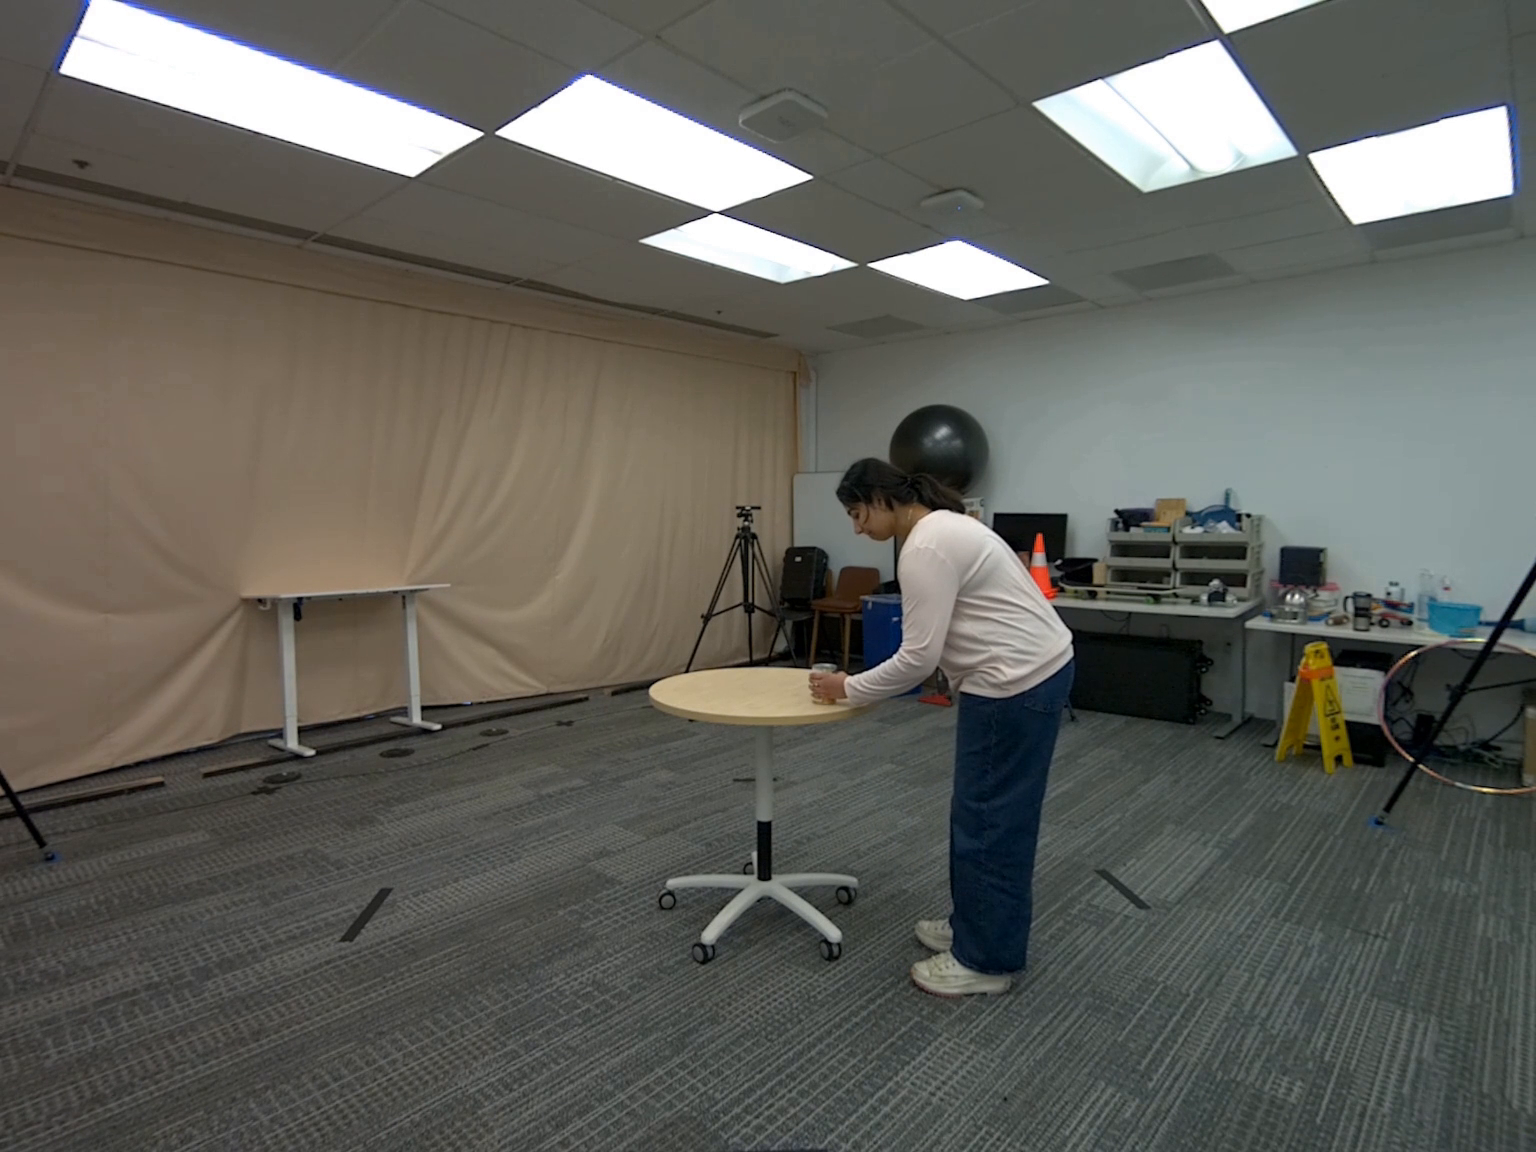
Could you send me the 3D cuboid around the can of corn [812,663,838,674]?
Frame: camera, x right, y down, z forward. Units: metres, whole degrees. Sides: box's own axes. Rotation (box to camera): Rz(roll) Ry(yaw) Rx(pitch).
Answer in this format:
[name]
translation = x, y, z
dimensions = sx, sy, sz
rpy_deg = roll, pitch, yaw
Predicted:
[can of corn]
translation = 0.202, 0.346, 2.554
dimensions = 0.074, 0.110, 0.074
rpy_deg = 2, 7, -2
